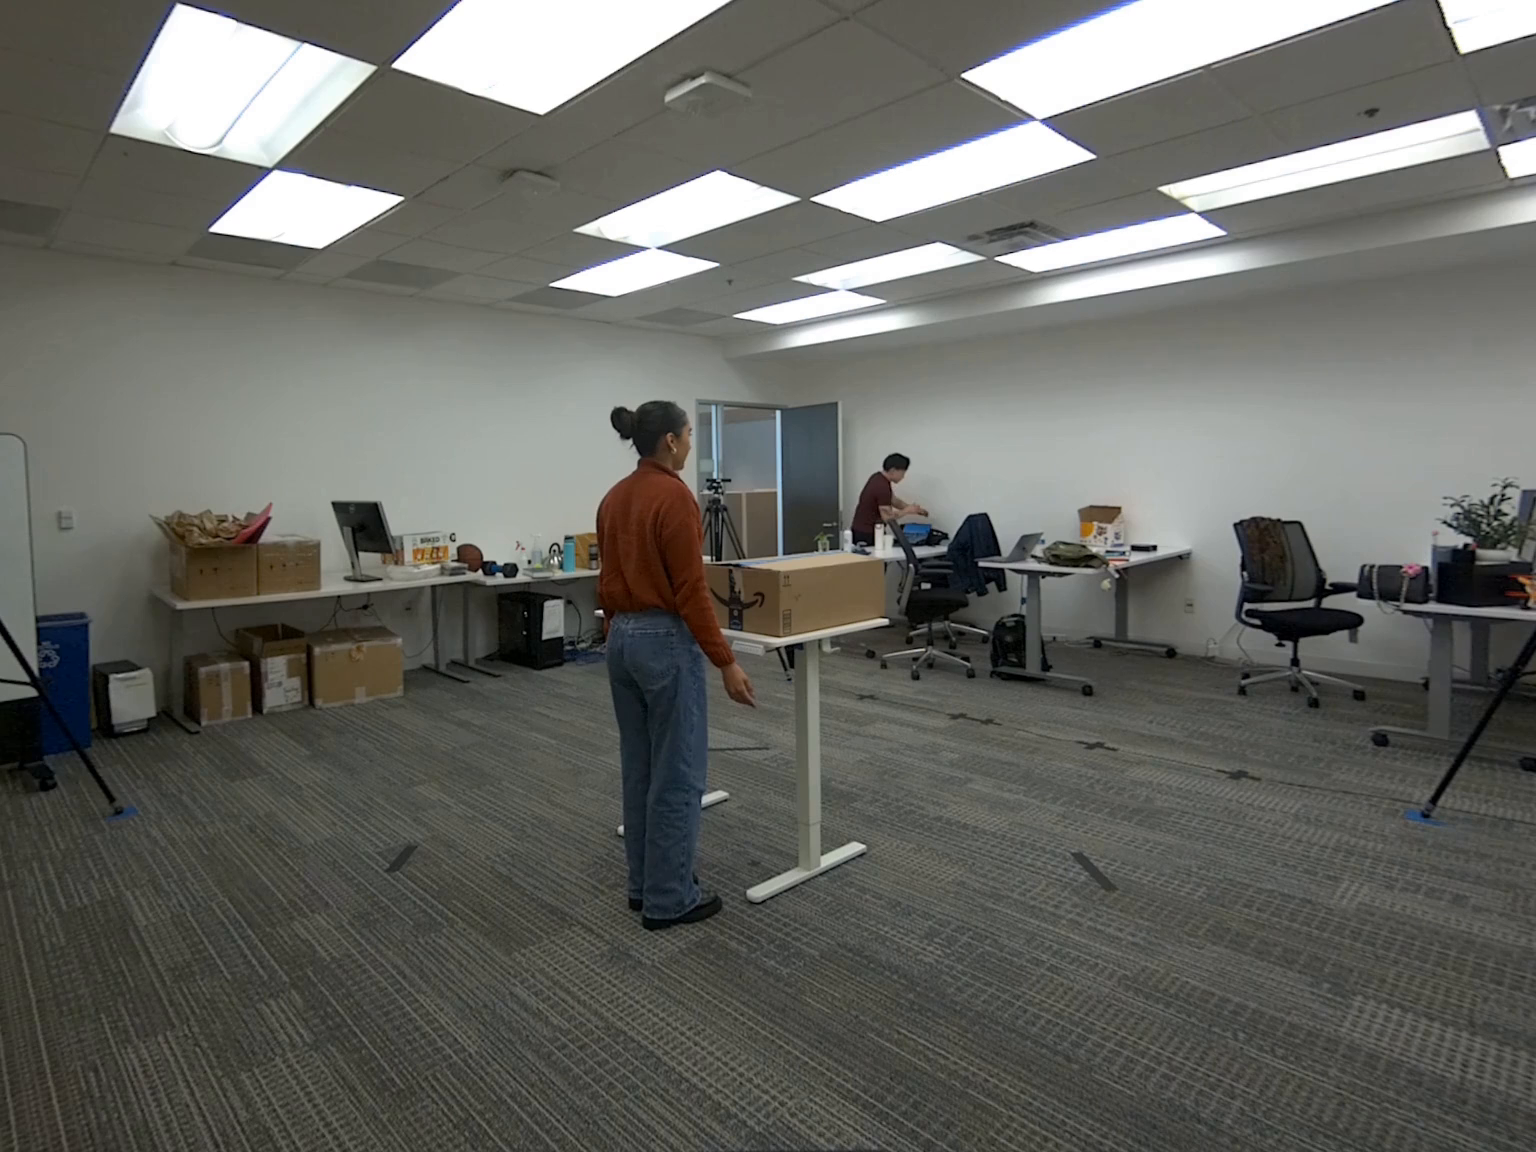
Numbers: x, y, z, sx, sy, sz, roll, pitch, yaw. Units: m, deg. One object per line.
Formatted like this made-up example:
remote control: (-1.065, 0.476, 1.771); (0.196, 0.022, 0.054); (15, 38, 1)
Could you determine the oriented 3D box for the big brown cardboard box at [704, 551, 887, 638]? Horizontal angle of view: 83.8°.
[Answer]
big brown cardboard box: (0.090, 0.054, 3.078); (0.574, 0.232, 0.430); (-8, 8, -44)
